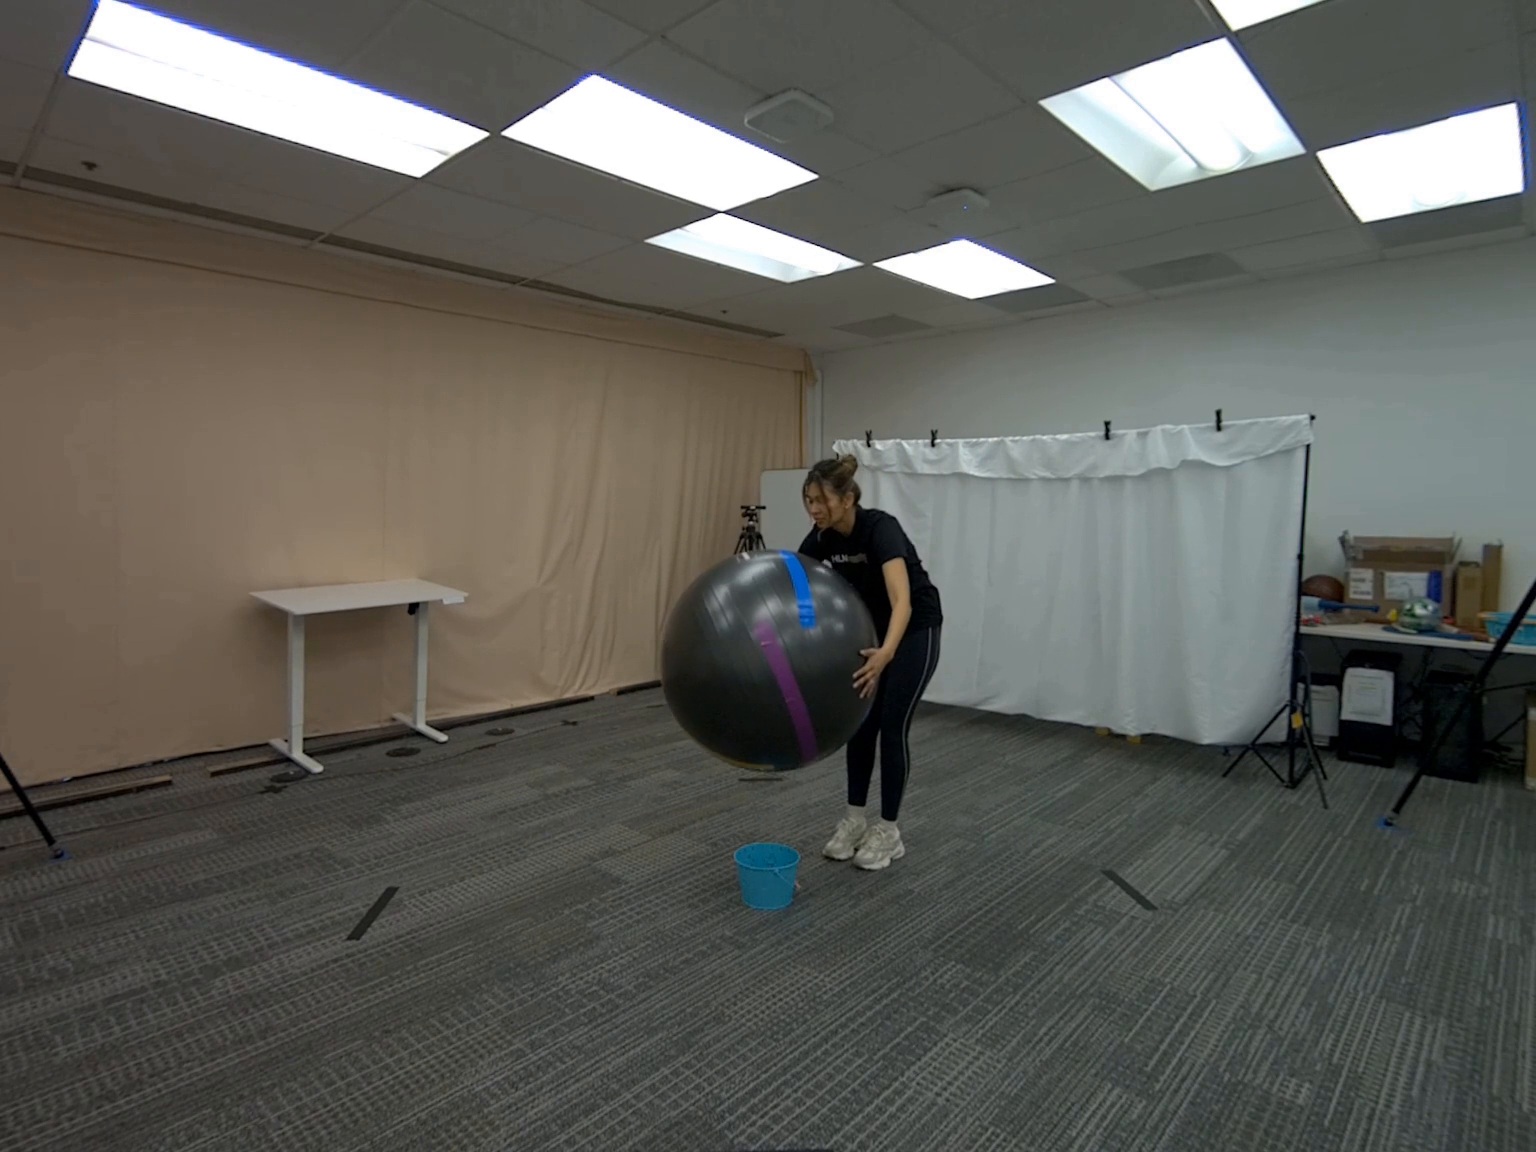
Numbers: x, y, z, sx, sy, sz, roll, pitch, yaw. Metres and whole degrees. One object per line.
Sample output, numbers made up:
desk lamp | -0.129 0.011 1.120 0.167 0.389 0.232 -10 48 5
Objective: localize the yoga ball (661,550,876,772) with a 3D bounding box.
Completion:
yoga ball | 0.005 0.288 2.909 0.757 0.756 0.760 0 4 -2
